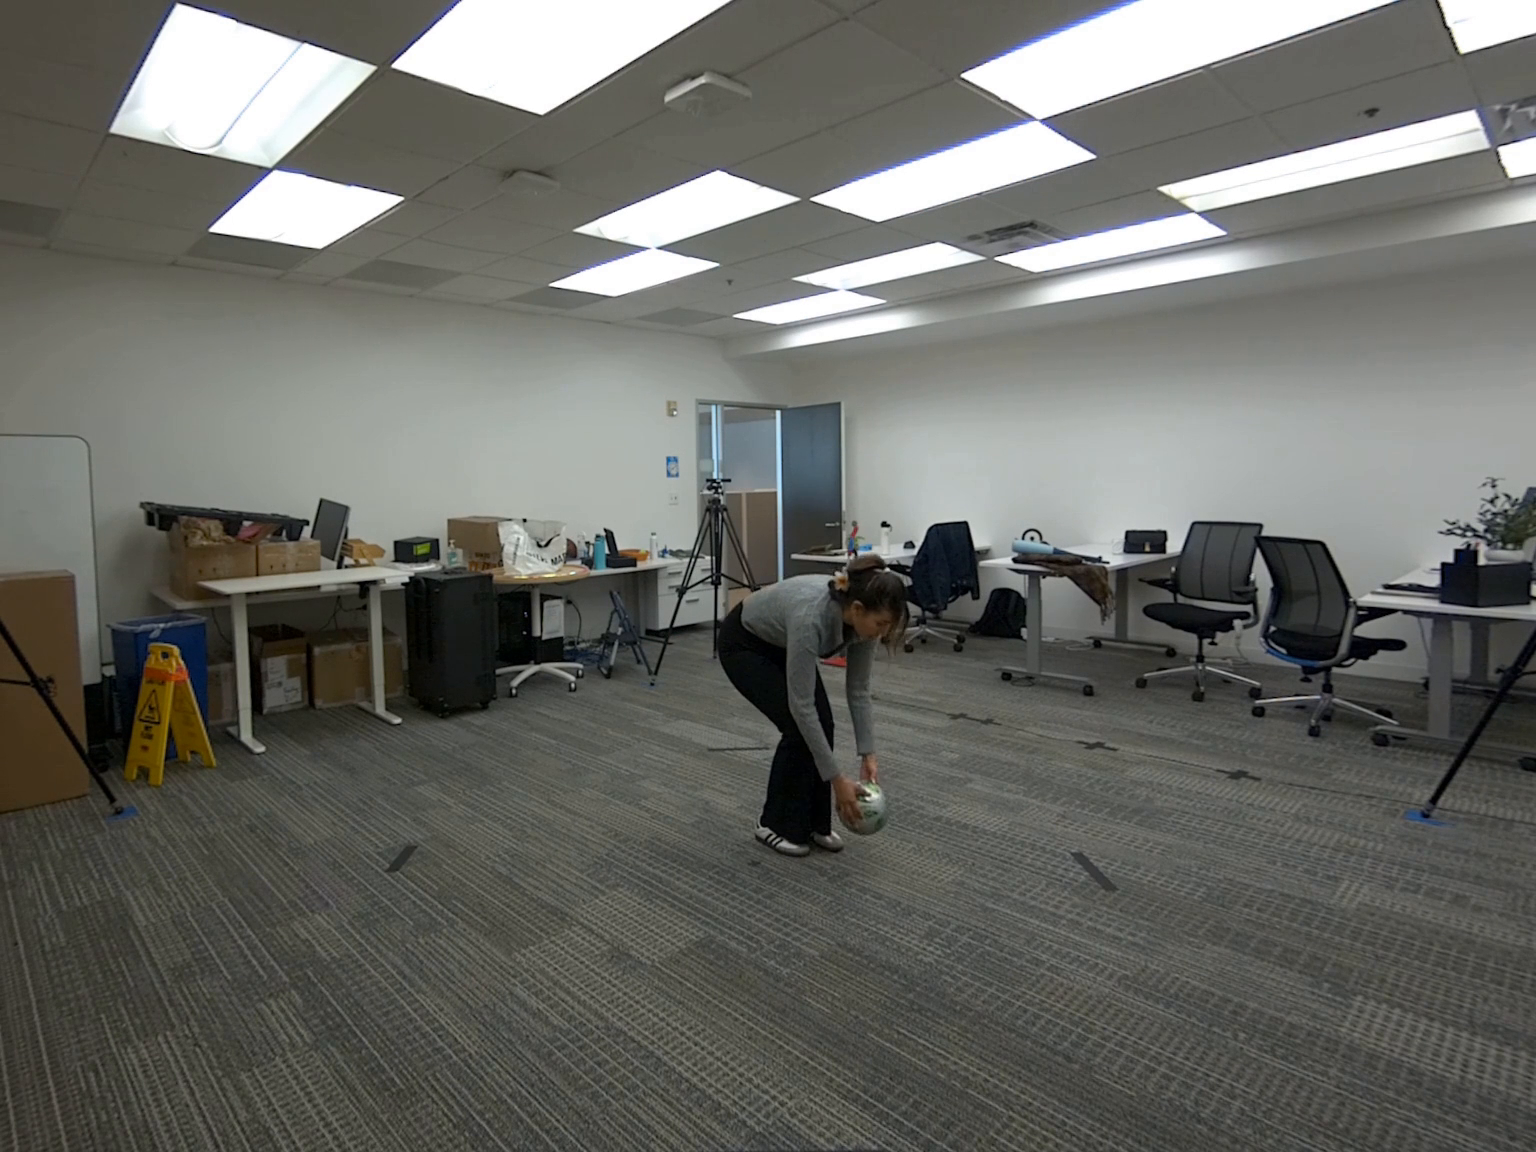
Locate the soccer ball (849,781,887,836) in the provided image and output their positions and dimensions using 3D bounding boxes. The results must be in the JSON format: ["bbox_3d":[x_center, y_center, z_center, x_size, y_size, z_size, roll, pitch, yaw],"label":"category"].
[{"bbox_3d":[0.352,0.808,3.015,0.187,0.187,0.188,-1,5,-2],"label":"soccer ball"}]
